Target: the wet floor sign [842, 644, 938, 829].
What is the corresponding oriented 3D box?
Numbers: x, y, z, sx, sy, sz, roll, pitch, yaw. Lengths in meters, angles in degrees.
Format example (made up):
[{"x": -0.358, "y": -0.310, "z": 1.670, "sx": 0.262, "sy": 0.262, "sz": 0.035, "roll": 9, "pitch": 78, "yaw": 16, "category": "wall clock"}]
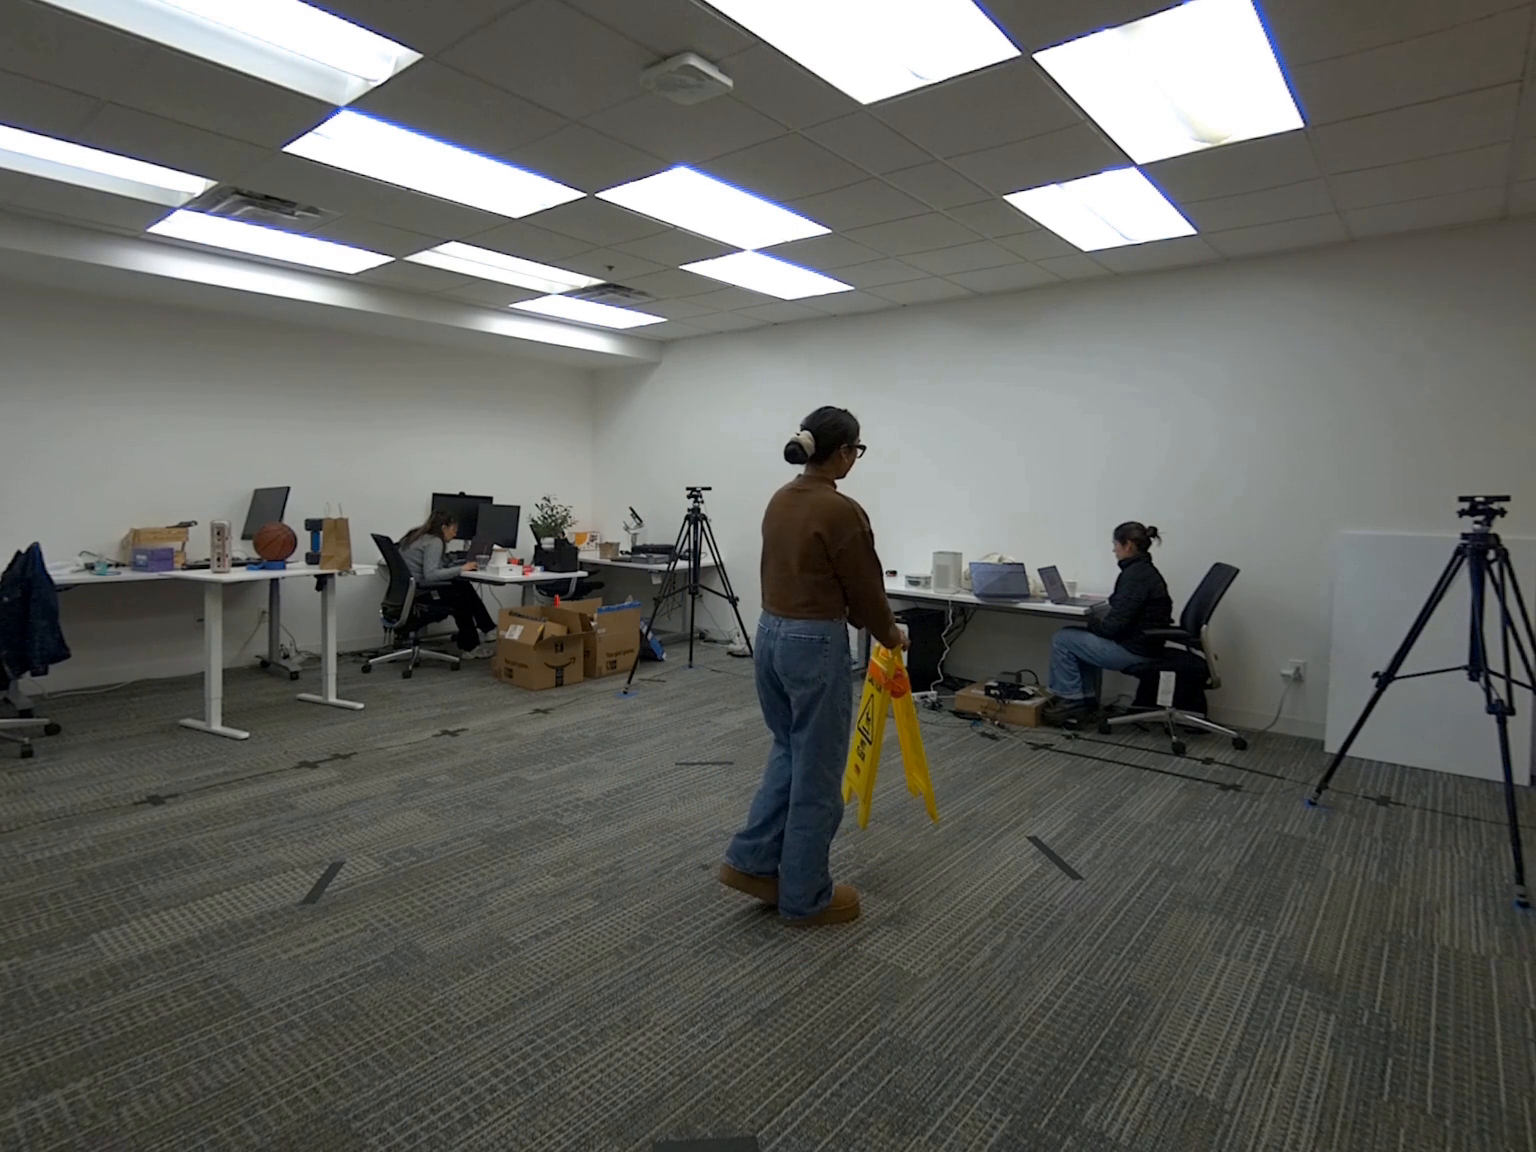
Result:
[{"x": 0.418, "y": 0.522, "z": 3.005, "sx": 0.287, "sy": 0.641, "sz": 0.287, "roll": -3, "pitch": 8, "yaw": -9, "category": "wet floor sign"}]
